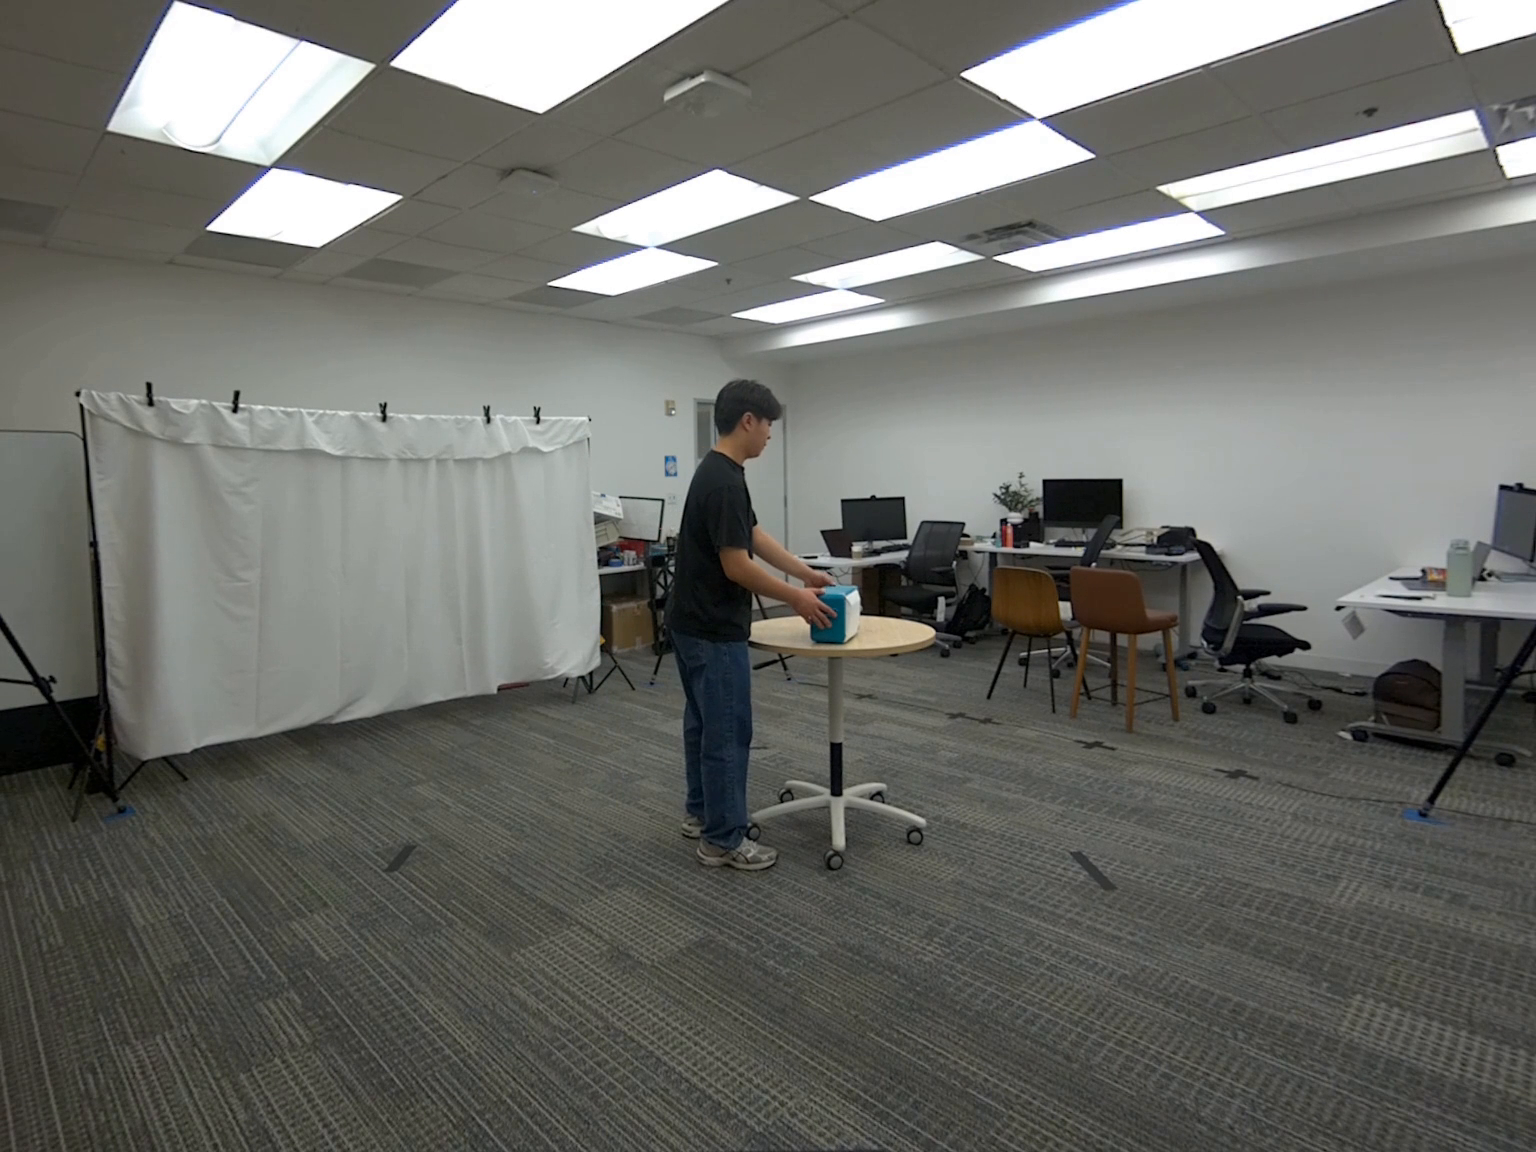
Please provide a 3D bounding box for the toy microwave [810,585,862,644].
[{"bbox_3d":[0.259,0.138,3.172,0.155,0.183,0.282,1,6,17],"label":"toy microwave"}]
